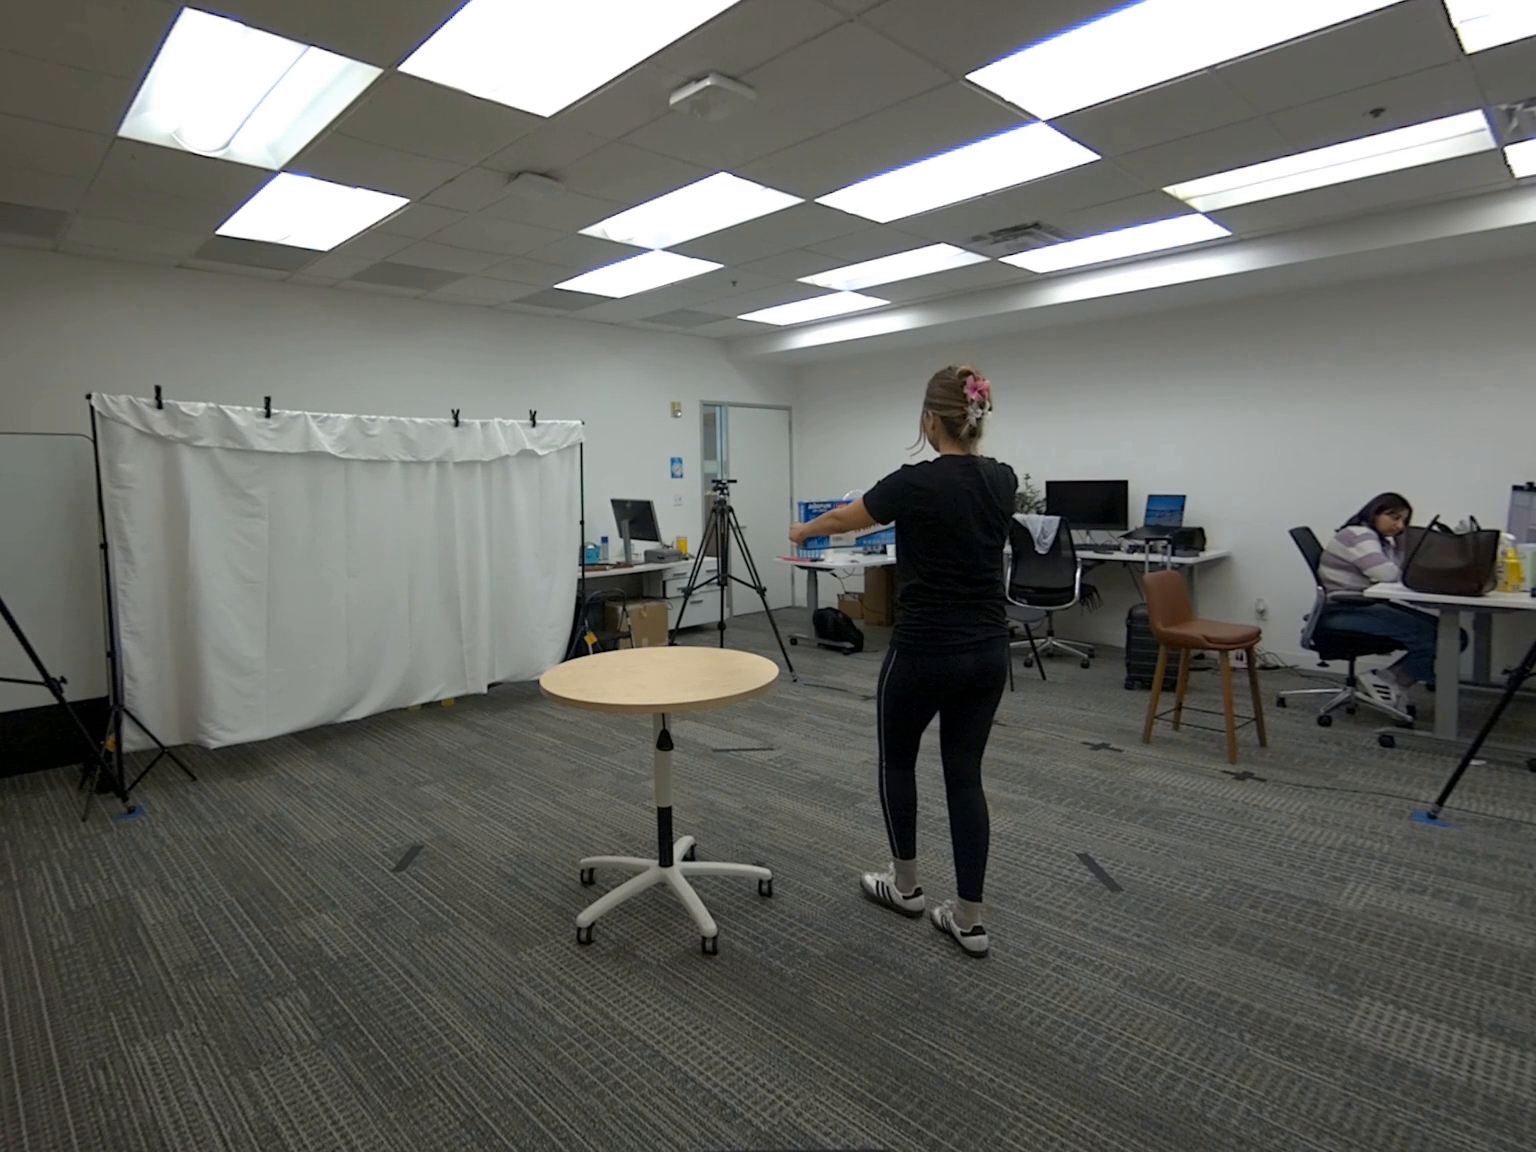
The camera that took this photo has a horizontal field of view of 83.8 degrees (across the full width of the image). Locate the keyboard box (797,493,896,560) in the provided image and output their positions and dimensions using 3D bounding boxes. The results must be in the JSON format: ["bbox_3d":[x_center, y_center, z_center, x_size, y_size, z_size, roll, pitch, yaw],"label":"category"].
[{"bbox_3d":[0.324,-0.191,3.084,0.429,0.175,0.060,-4,4,-19],"label":"keyboard box"}]
